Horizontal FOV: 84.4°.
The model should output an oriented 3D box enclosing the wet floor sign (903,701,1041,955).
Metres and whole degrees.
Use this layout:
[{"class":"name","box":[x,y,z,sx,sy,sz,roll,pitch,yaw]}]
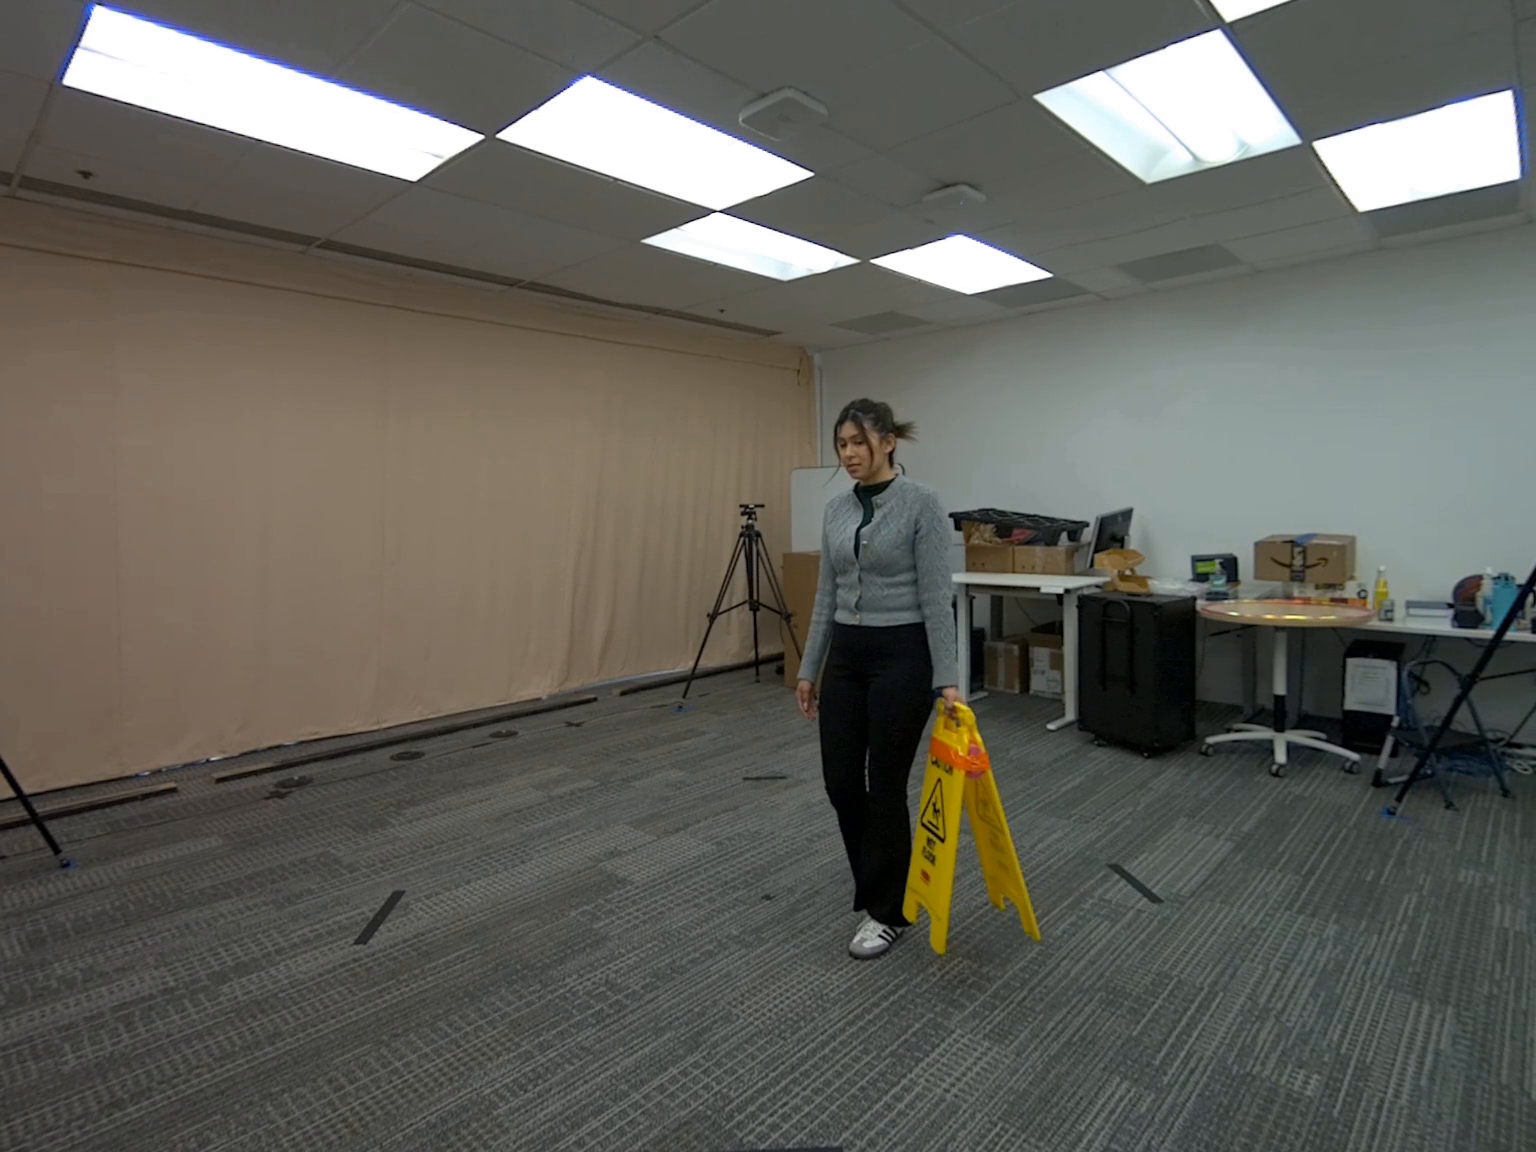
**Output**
[{"class":"wet floor sign","box":[0.563,0.687,2.403,0.286,0.647,0.285,-4,-1,-11]}]
